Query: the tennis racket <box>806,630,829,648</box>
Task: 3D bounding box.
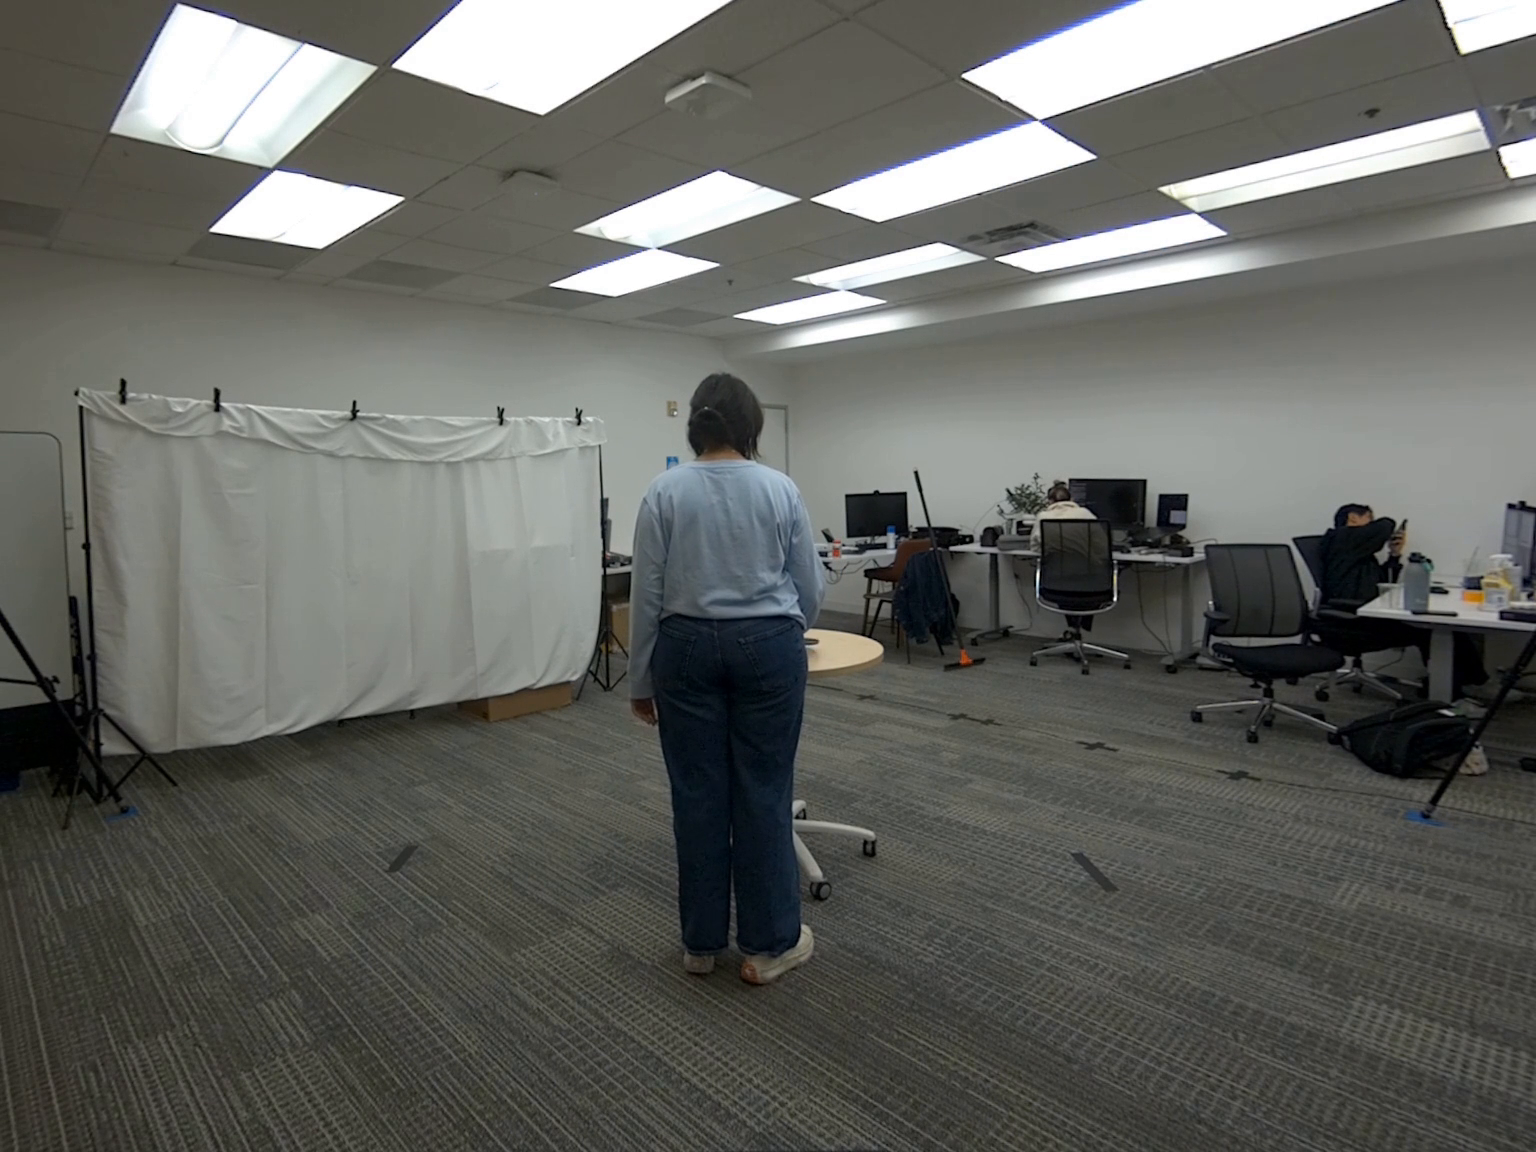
[{"bbox_3d":[0.064,0.212,2.928,0.217,0.032,0.423,-1,-9,14],"label":"tennis racket"}]
